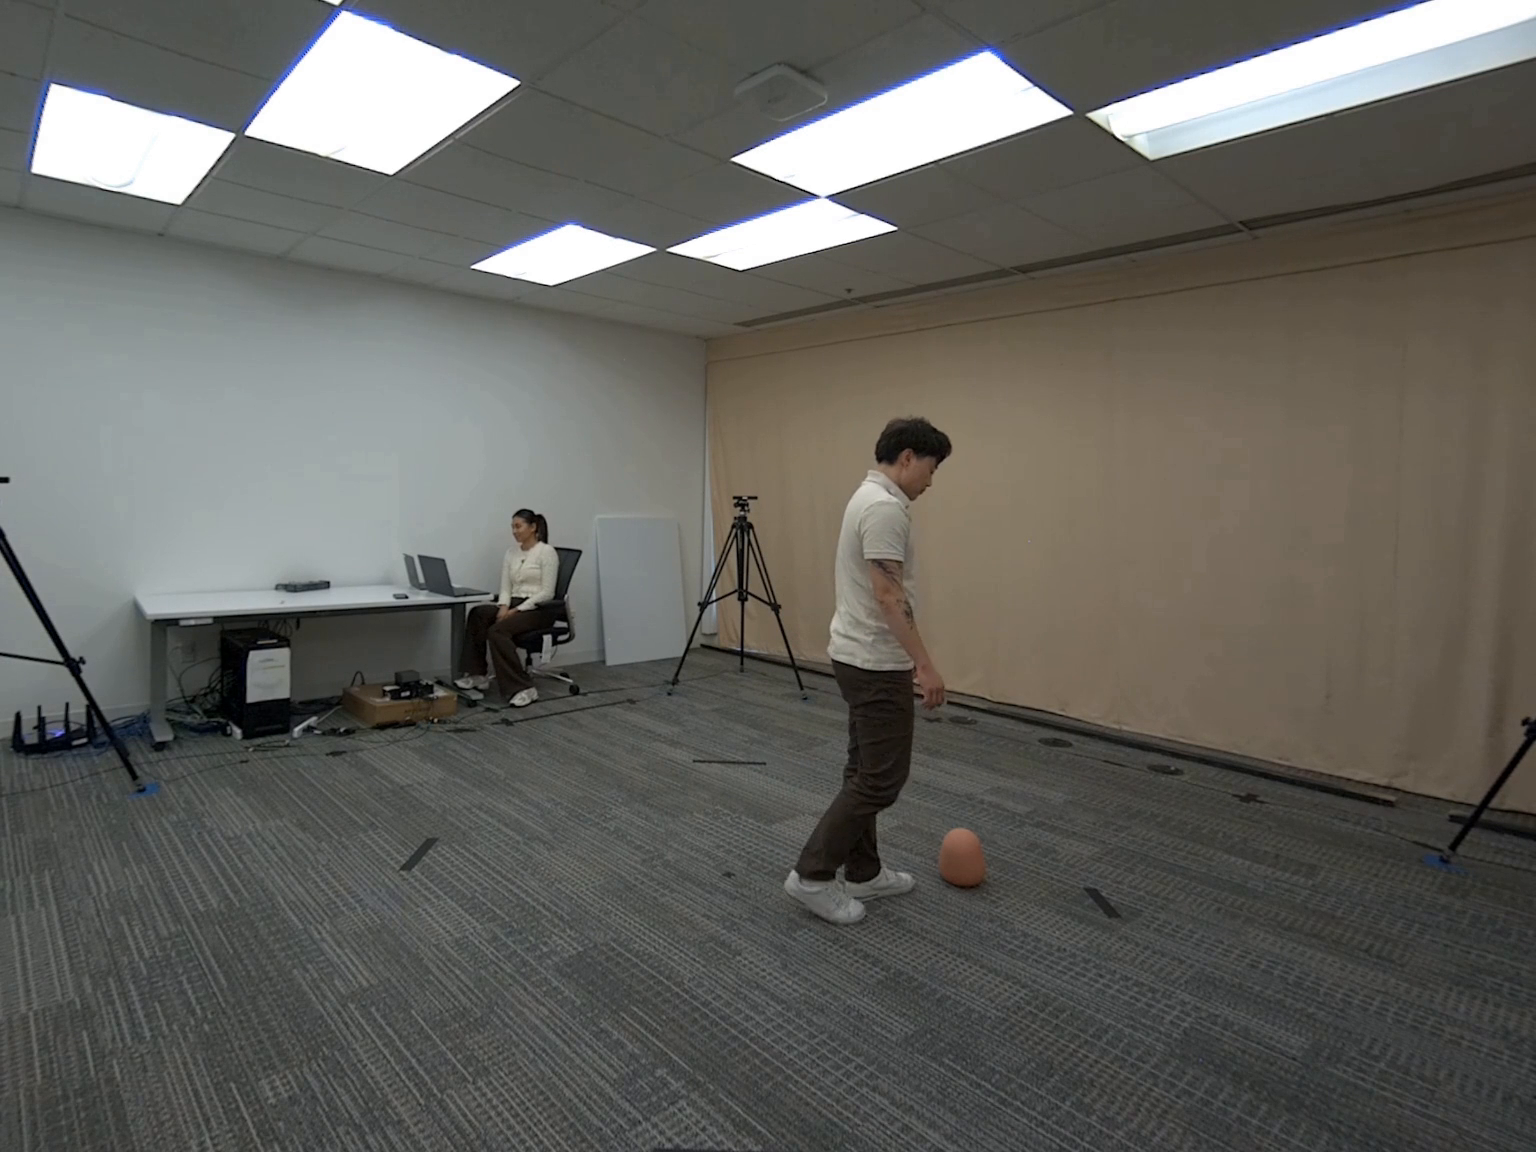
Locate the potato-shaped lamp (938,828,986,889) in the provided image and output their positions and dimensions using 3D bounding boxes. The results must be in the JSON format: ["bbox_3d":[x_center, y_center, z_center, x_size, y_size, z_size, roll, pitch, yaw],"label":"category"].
[{"bbox_3d":[0.706,1.027,3.094,0.168,0.198,0.167,4,2,34],"label":"potato-shaped lamp"}]
